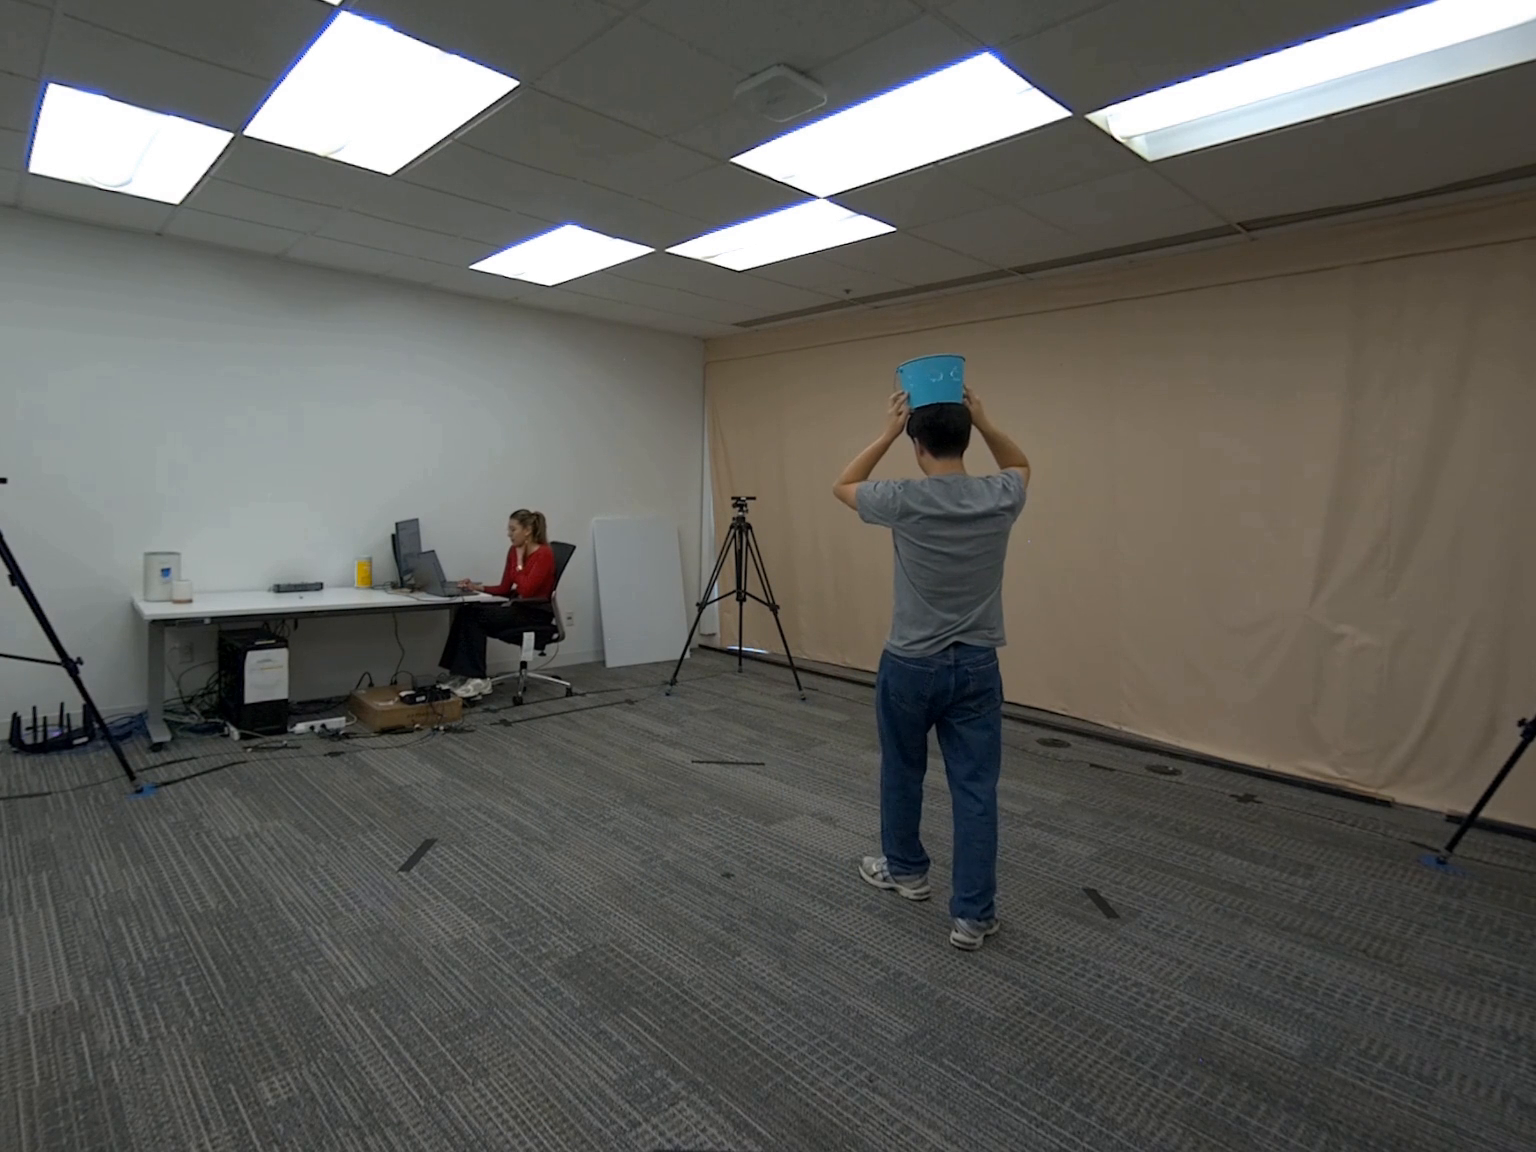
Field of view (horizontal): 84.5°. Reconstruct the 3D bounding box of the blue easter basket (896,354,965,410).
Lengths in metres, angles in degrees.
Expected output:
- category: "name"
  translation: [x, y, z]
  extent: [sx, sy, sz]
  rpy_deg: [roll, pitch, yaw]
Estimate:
- category: "blue easter basket"
  translation: [0.554, -0.630, 2.822]
  extent: [0.243, 0.157, 0.242]
  rpy_deg: [-4, -5, -2]
